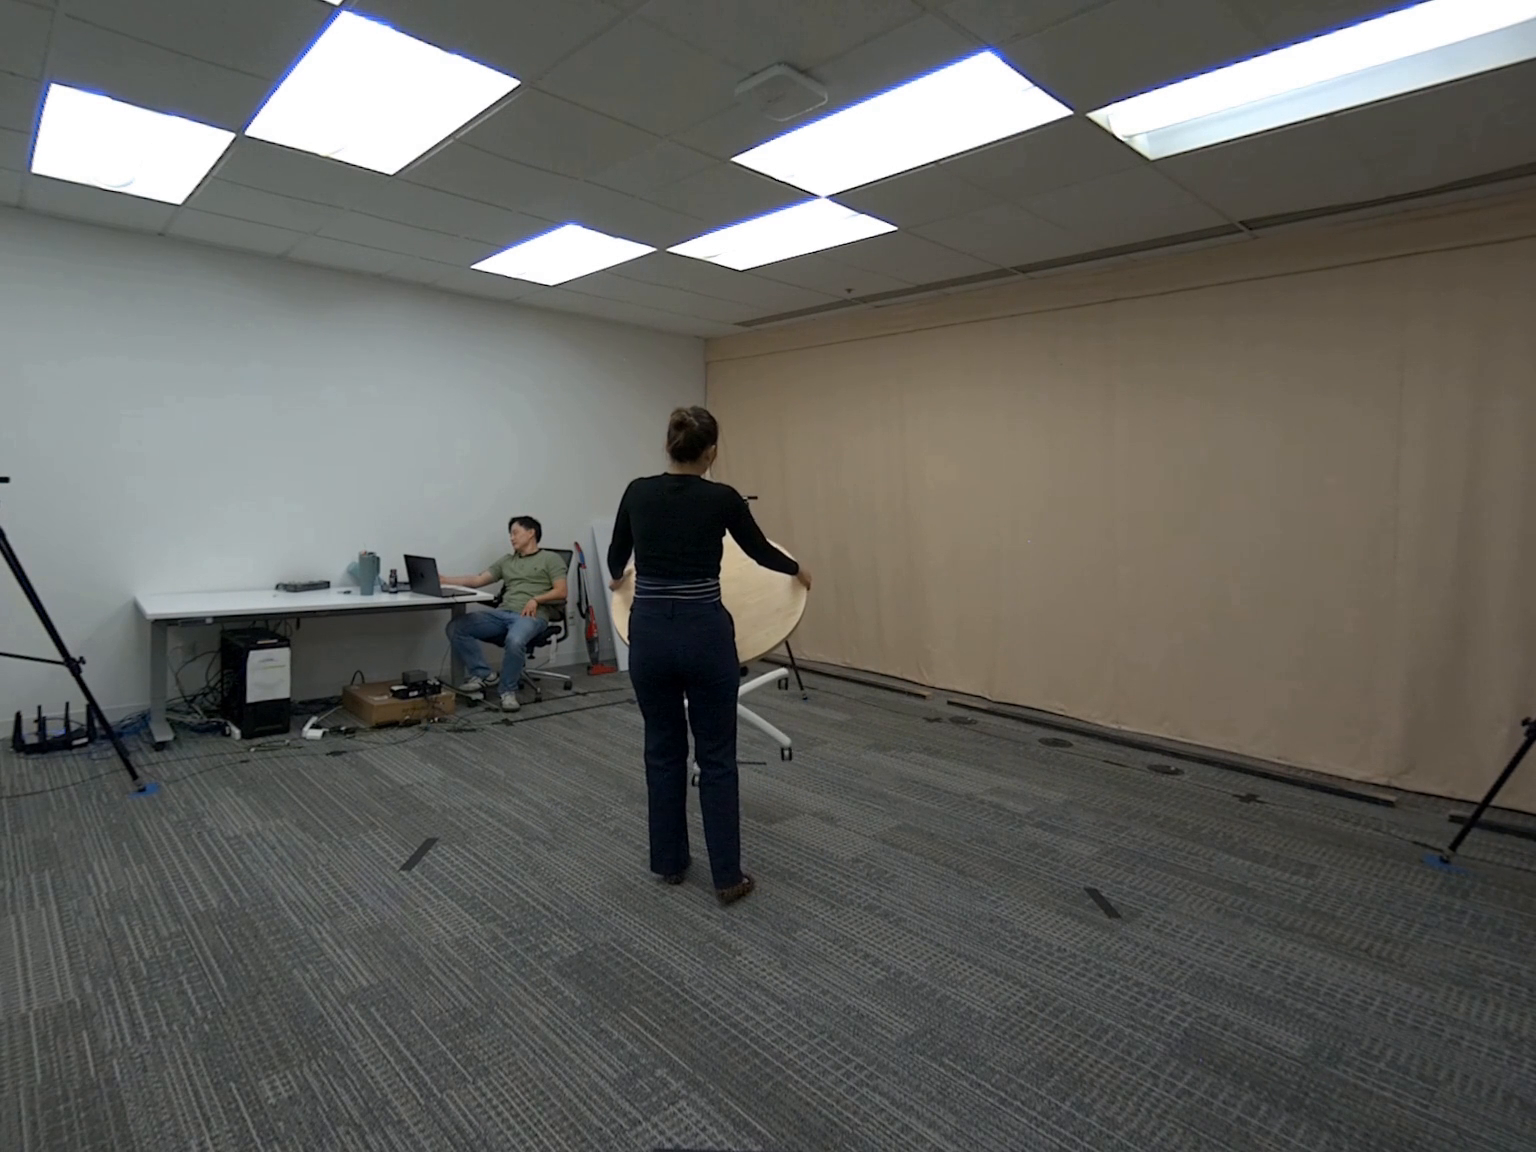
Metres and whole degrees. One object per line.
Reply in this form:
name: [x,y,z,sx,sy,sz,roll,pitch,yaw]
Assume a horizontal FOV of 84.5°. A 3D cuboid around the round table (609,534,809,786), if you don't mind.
round table: [-0.217,0.361,3.551,0.765,0.775,0.781,-4,41,2]
